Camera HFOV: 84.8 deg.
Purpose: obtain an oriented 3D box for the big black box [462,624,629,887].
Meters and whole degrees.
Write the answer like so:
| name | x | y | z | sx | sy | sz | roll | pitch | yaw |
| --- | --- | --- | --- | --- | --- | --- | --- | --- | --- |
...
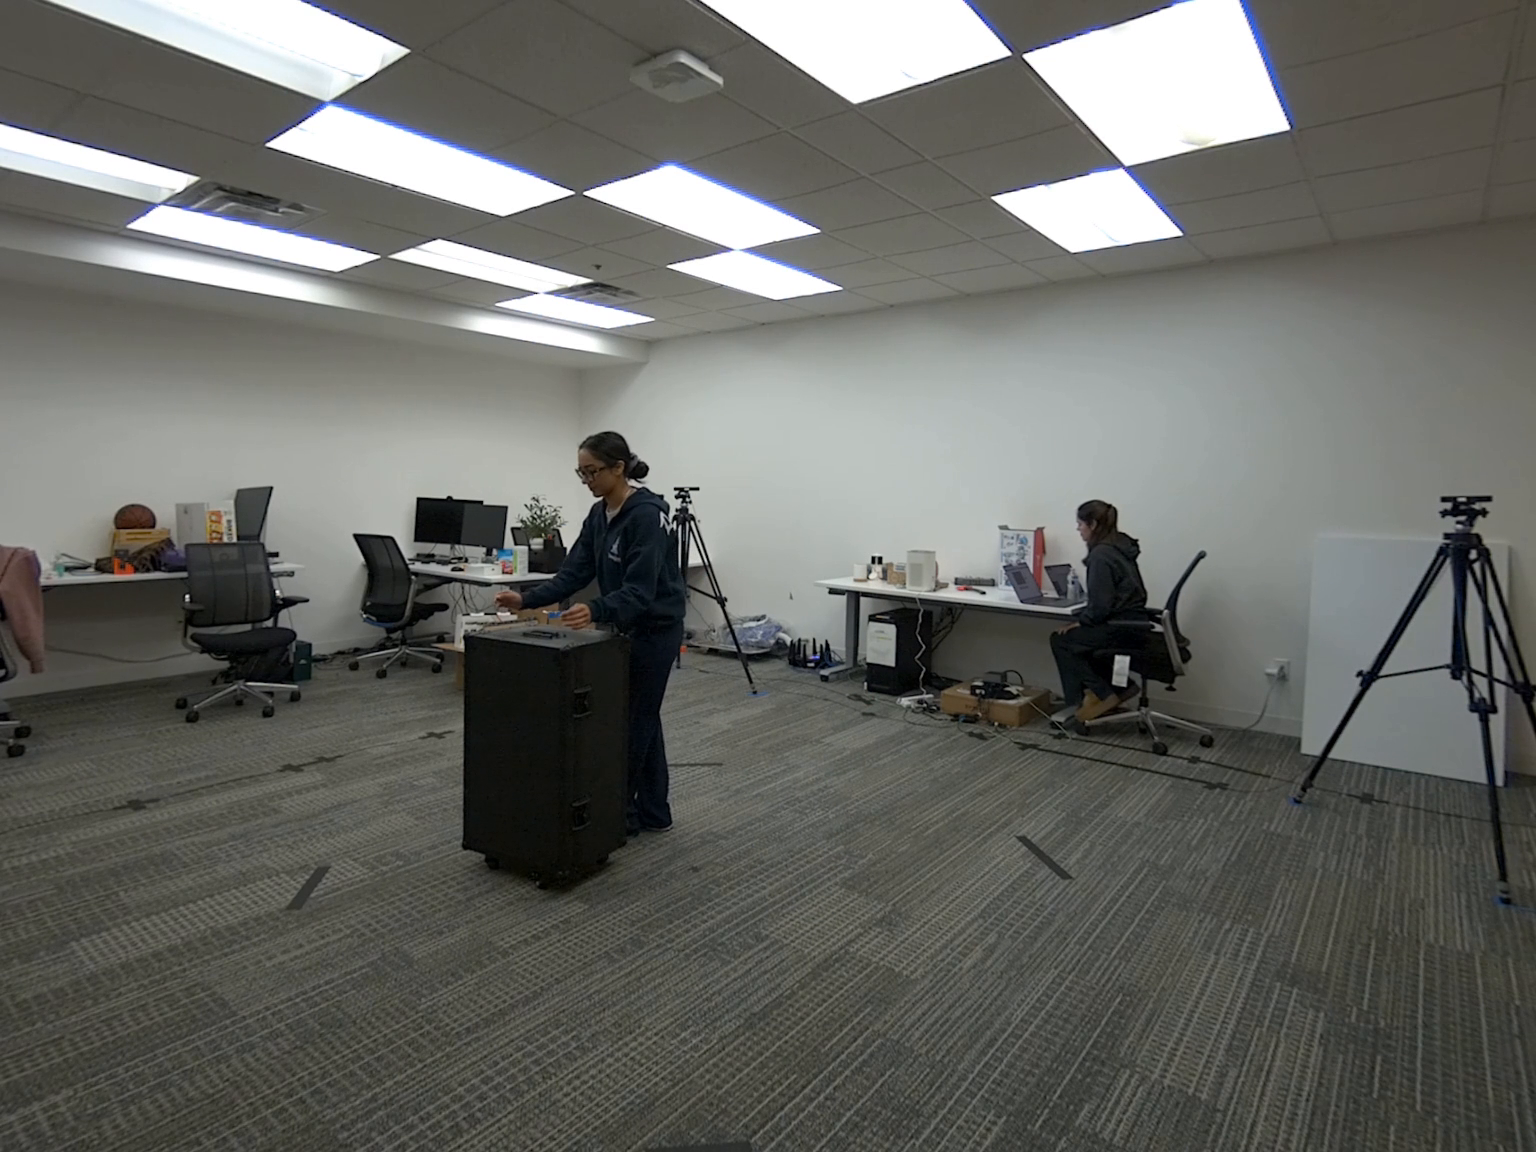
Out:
| name | x | y | z | sx | sy | sz | roll | pitch | yaw |
| --- | --- | --- | --- | --- | --- | --- | --- | --- | --- |
| big black box | -0.820 | 0.632 | 3.099 | 0.536 | 0.860 | 0.386 | 3 | 2 | 29 |
